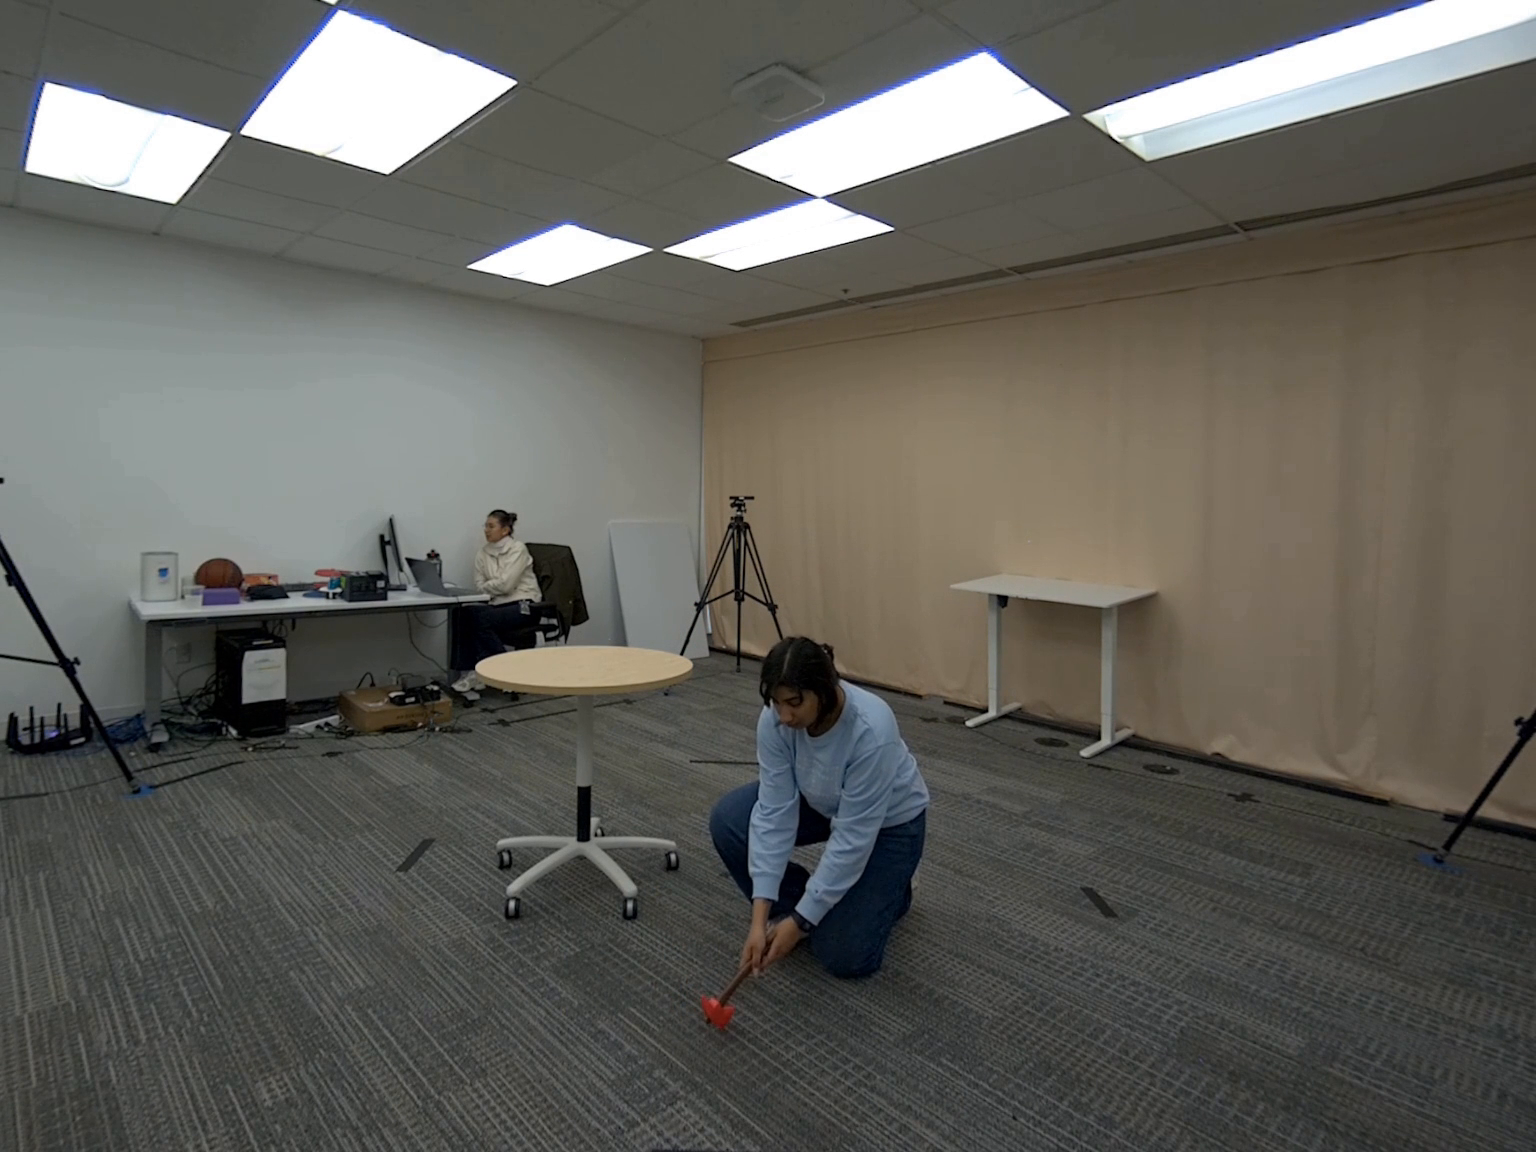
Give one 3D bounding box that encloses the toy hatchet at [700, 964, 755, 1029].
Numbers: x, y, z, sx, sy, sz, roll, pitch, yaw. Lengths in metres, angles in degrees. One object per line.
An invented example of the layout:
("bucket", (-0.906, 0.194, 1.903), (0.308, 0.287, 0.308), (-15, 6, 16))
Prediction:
("toy hatchet", (-0.074, 1.095, 2.212), (0.266, 0.130, 0.030), (-16, 8, -34))
